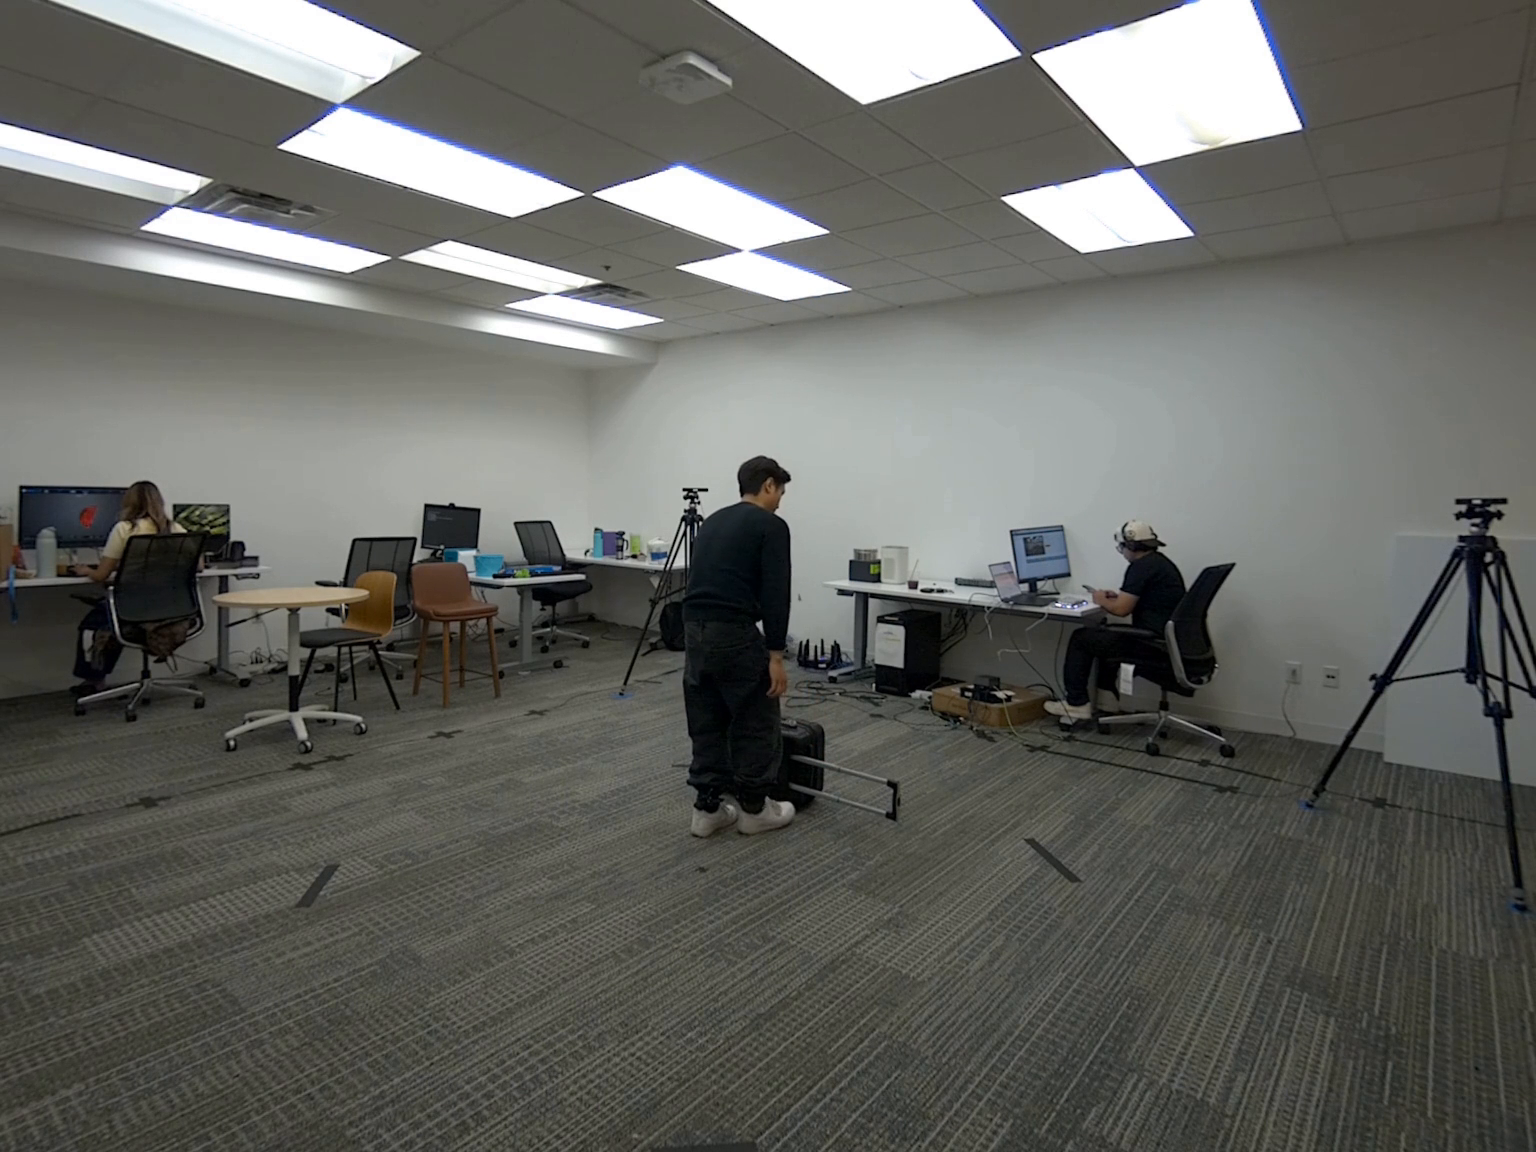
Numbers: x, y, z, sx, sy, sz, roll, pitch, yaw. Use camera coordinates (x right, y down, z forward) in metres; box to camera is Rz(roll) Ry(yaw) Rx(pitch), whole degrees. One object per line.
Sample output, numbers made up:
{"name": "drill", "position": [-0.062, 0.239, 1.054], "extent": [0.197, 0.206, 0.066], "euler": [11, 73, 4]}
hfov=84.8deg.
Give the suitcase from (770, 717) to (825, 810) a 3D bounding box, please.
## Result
{"name": "suitcase", "position": [0.148, 0.825, 3.748], "extent": [1.010, 0.382, 0.250], "euler": [5, 6, 35]}
